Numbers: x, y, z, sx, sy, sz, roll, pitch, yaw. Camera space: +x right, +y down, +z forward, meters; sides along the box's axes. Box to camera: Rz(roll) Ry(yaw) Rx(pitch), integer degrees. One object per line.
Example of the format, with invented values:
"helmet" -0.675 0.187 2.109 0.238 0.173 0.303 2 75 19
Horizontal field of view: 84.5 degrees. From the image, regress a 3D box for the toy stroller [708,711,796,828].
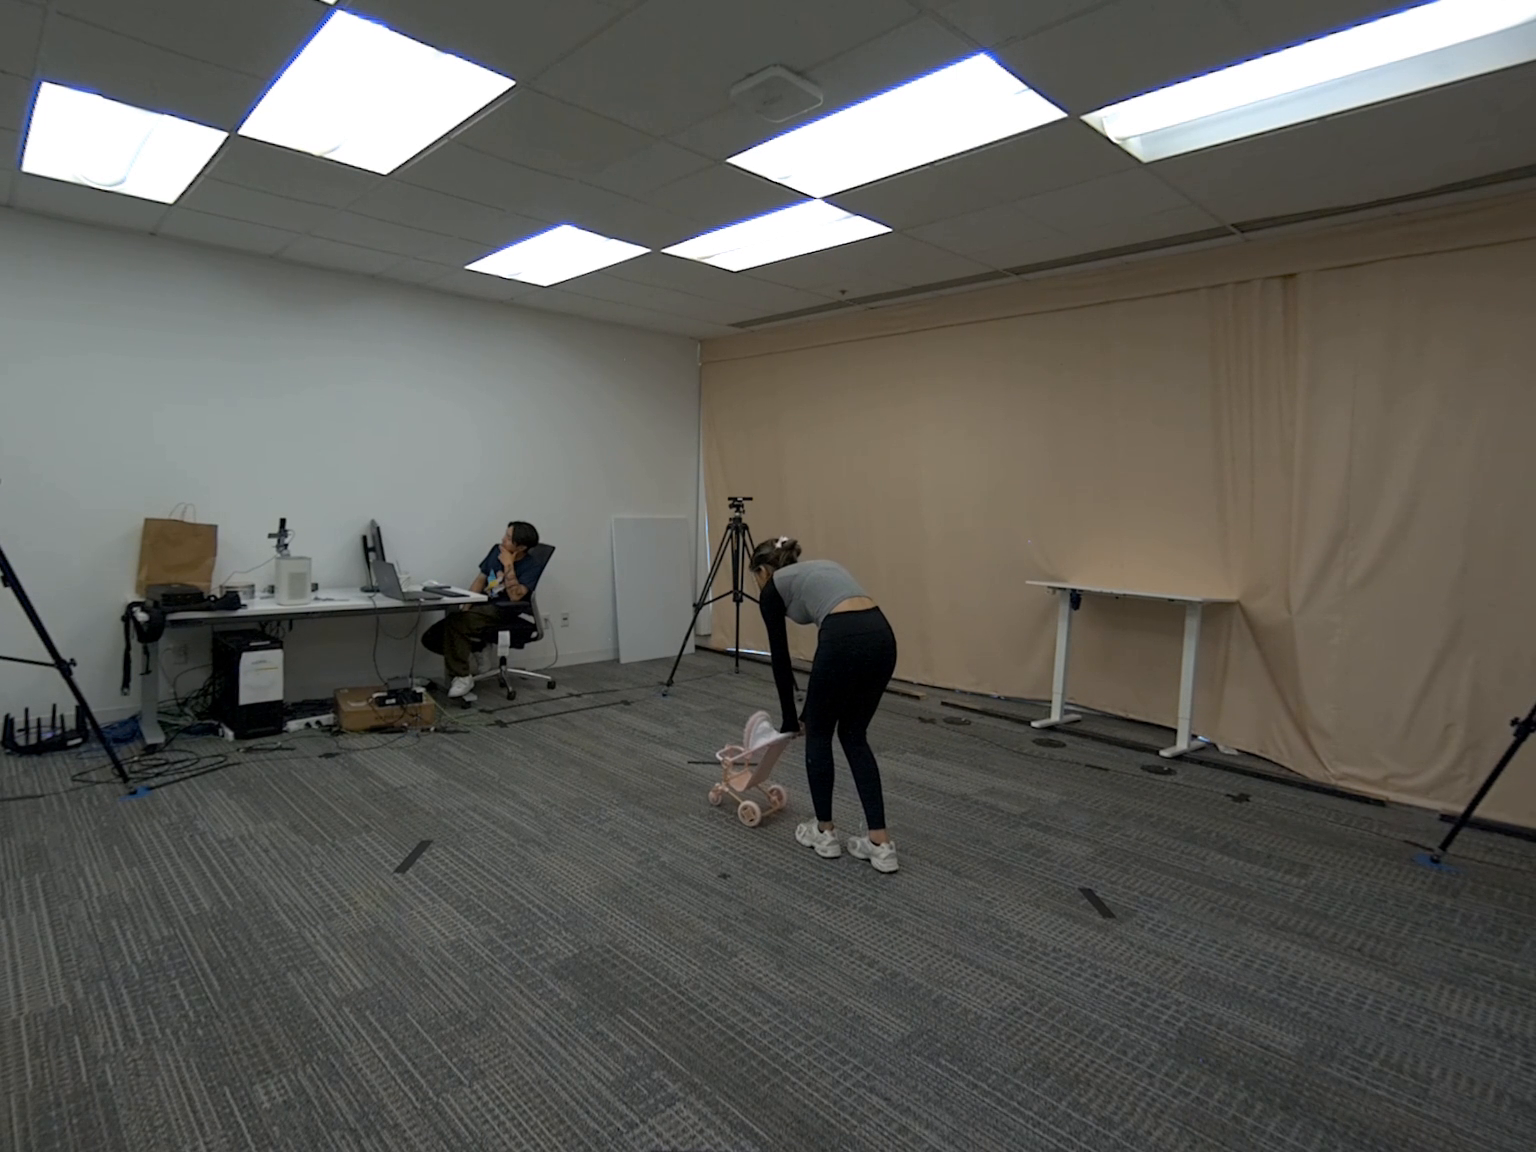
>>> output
"toy stroller" -0.072 0.831 3.719 0.351 0.531 0.275 24 15 33
